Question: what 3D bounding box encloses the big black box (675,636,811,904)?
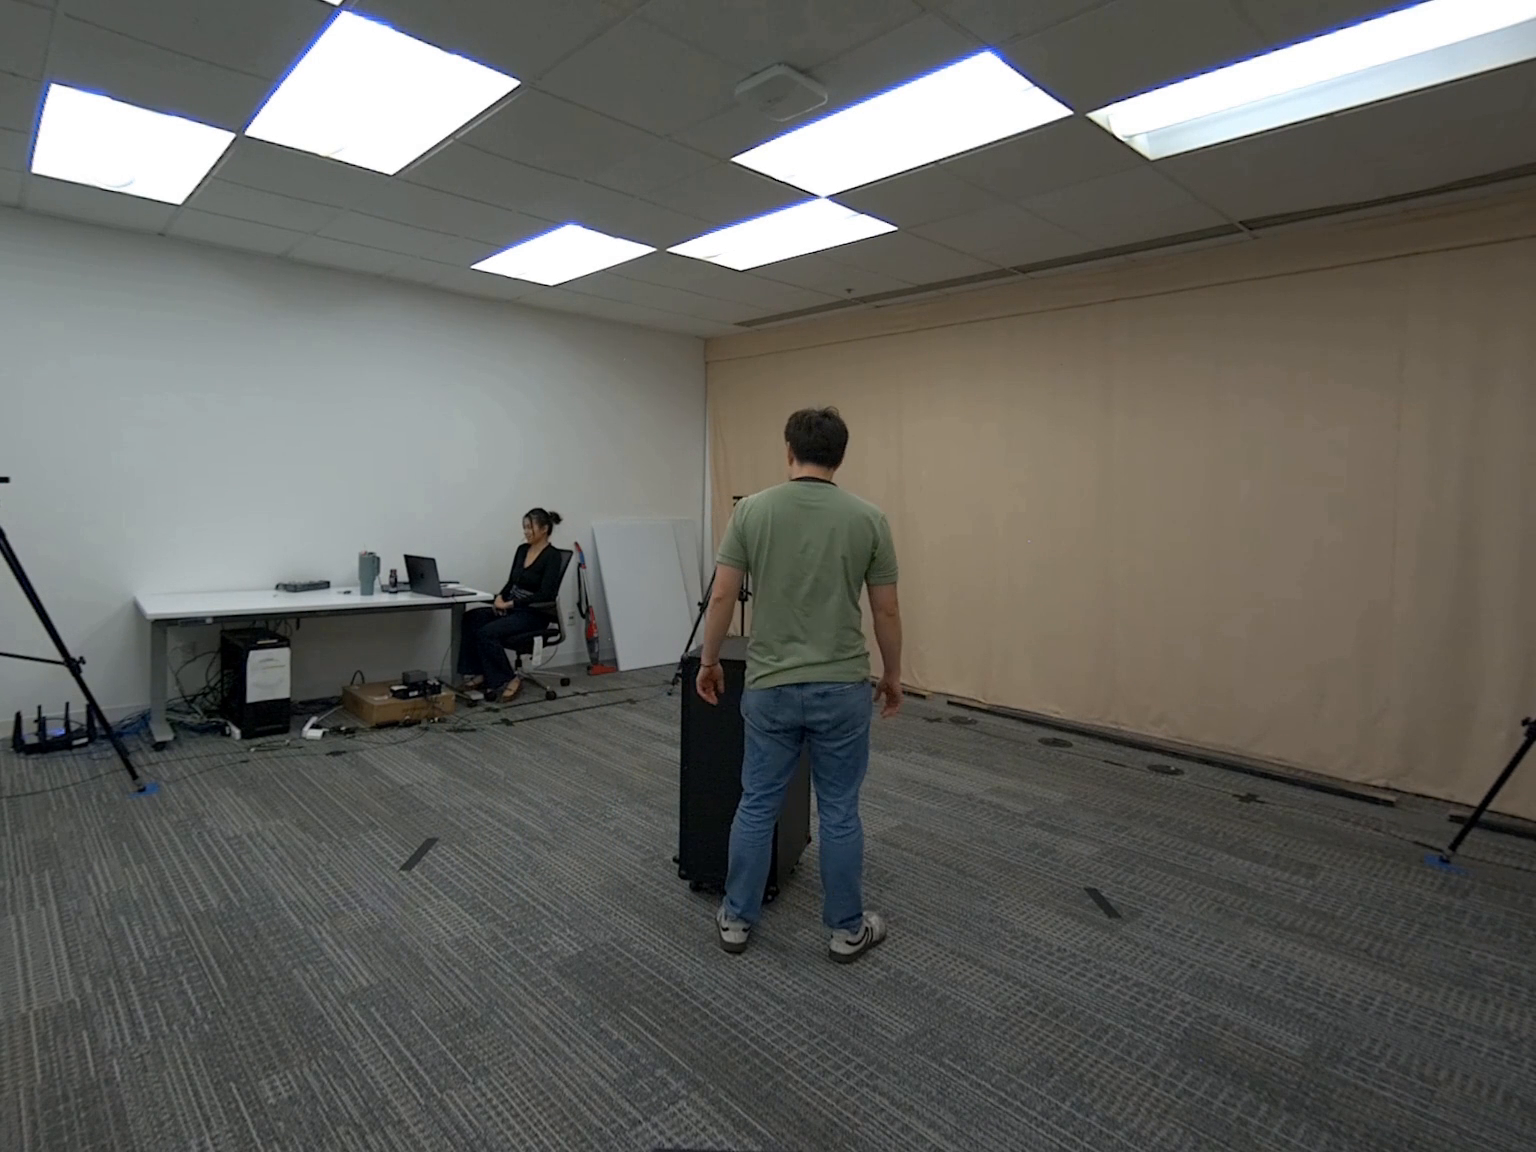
[{"bbox_3d":[-0.091,0.687,3.063,0.402,0.860,0.515,1,3,17],"label":"big black box"}]
